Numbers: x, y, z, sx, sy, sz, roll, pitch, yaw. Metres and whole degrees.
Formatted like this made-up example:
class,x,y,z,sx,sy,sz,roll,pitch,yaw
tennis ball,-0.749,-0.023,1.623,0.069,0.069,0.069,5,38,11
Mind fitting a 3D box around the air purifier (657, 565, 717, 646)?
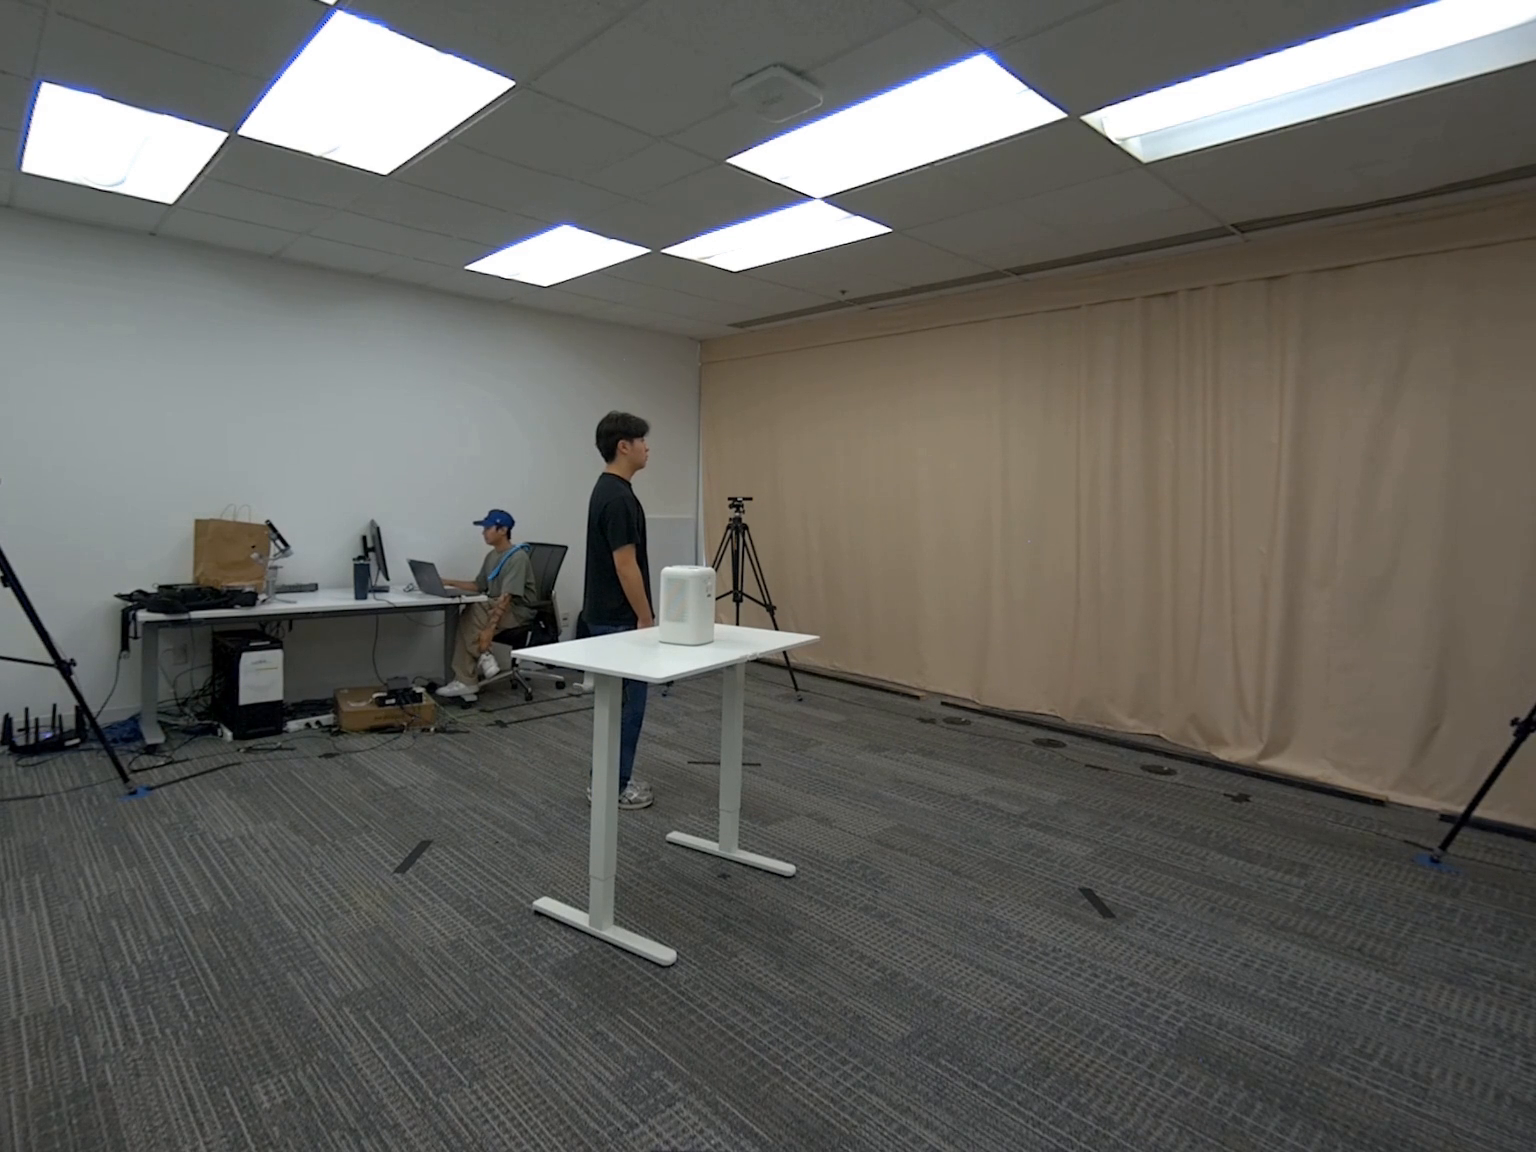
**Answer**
class,x,y,z,sx,sy,sz,roll,pitch,yaw
air purifier,-0.290,0.102,2.971,0.175,0.265,0.168,4,4,26
